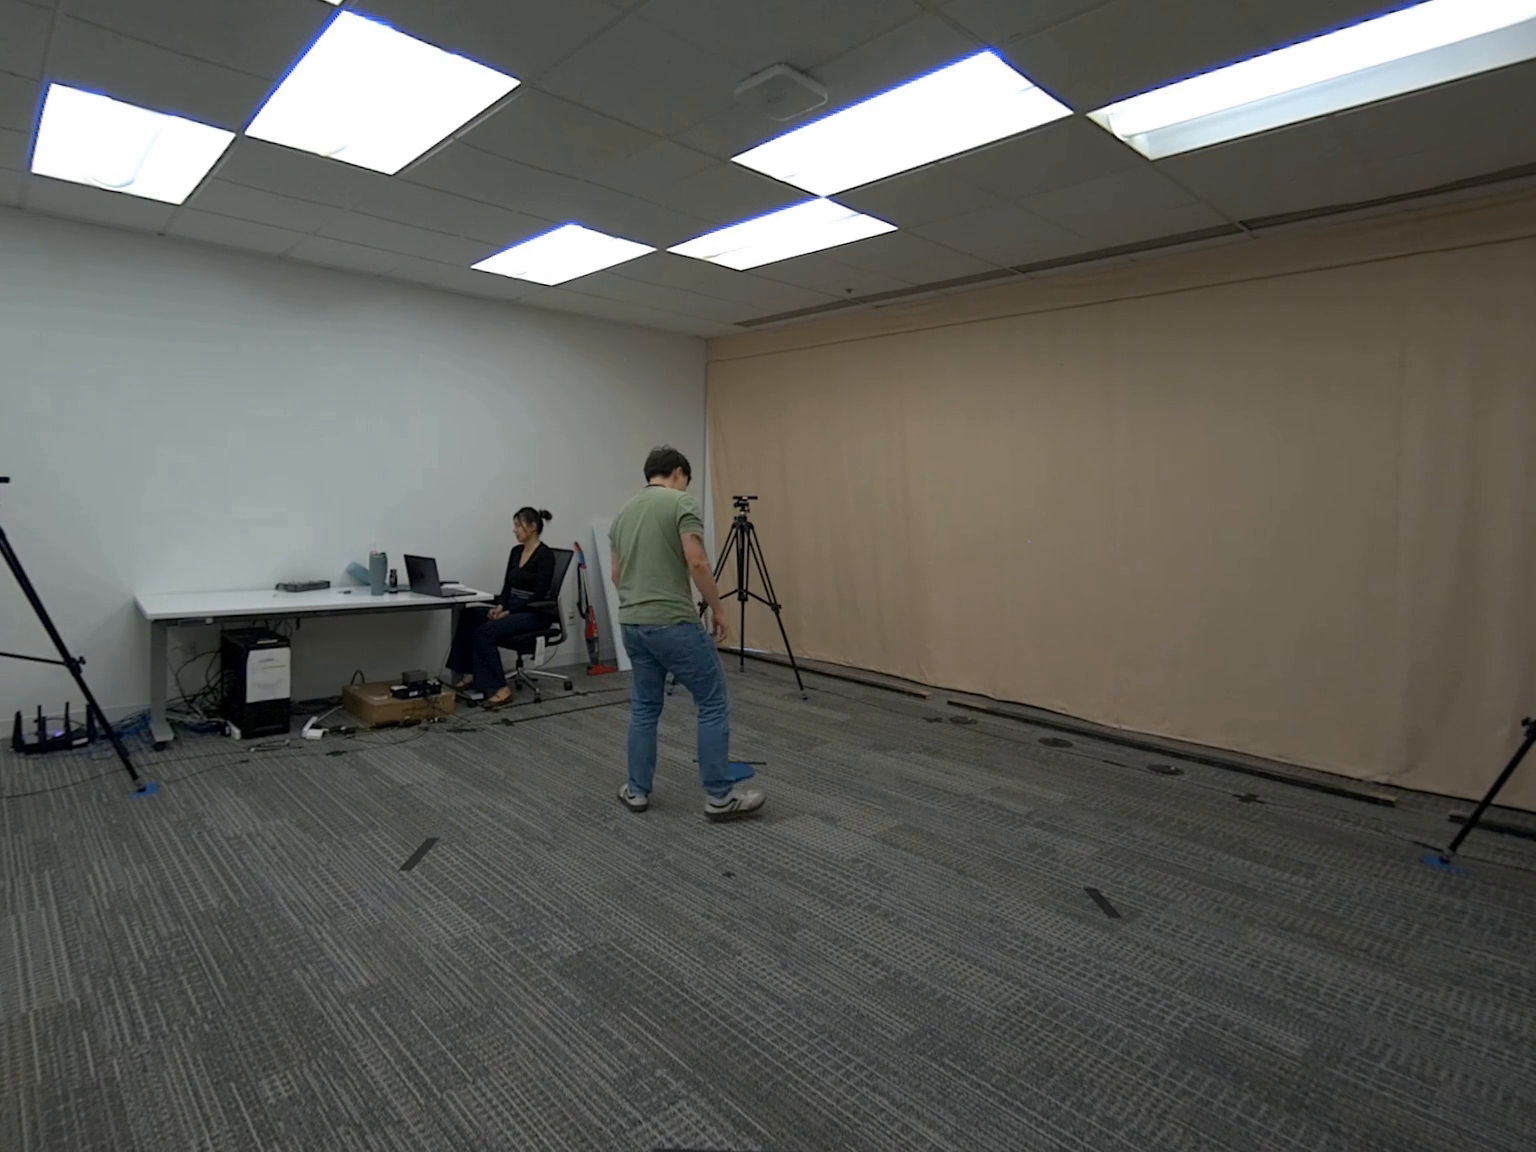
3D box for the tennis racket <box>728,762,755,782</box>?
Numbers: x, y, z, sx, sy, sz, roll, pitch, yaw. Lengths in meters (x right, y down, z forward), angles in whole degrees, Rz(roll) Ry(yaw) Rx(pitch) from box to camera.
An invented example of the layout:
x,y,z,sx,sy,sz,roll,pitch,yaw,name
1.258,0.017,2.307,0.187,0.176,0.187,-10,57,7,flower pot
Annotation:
x,y,z,sx,sy,sz,roll,pitch,yaw,name
-0.194,0.998,4.201,0.215,0.032,0.431,3,4,5,tennis racket
